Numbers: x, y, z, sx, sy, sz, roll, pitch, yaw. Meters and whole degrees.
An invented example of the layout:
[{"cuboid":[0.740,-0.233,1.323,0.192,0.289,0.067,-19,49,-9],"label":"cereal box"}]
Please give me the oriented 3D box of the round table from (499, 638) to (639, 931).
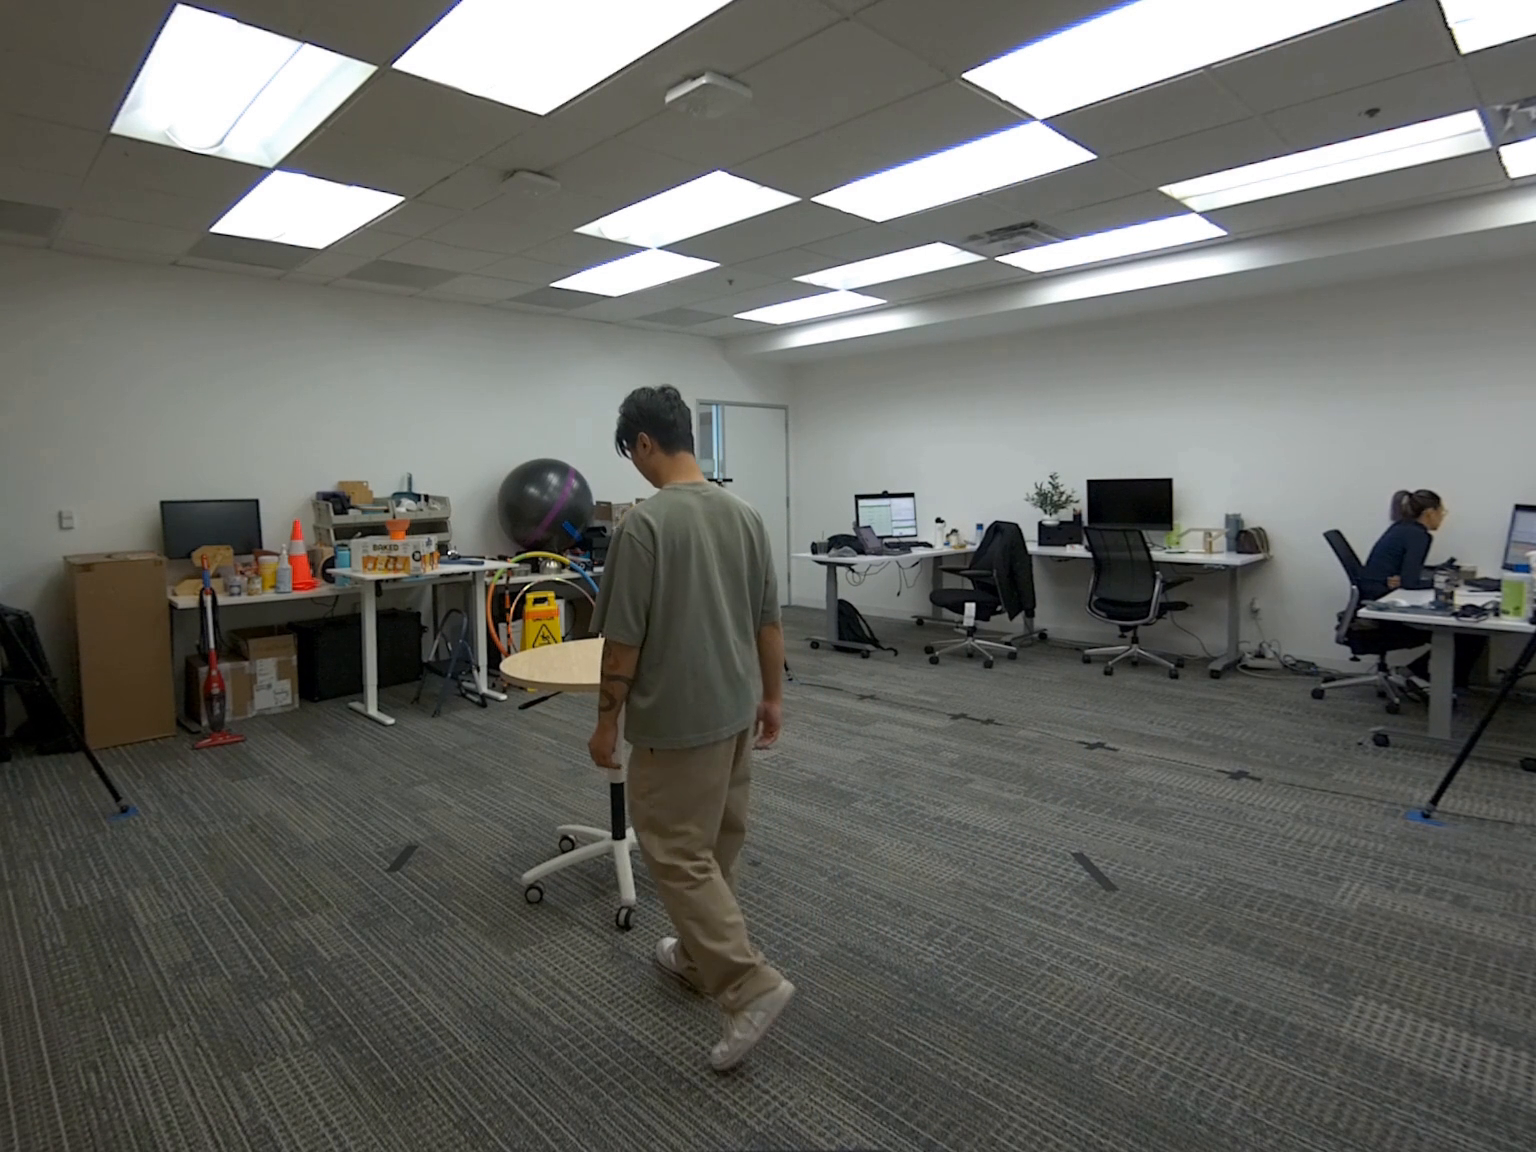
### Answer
[{"cuboid":[-0.543,0.674,2.996,0.784,0.784,0.789,-2,5,-2],"label":"round table"}]
